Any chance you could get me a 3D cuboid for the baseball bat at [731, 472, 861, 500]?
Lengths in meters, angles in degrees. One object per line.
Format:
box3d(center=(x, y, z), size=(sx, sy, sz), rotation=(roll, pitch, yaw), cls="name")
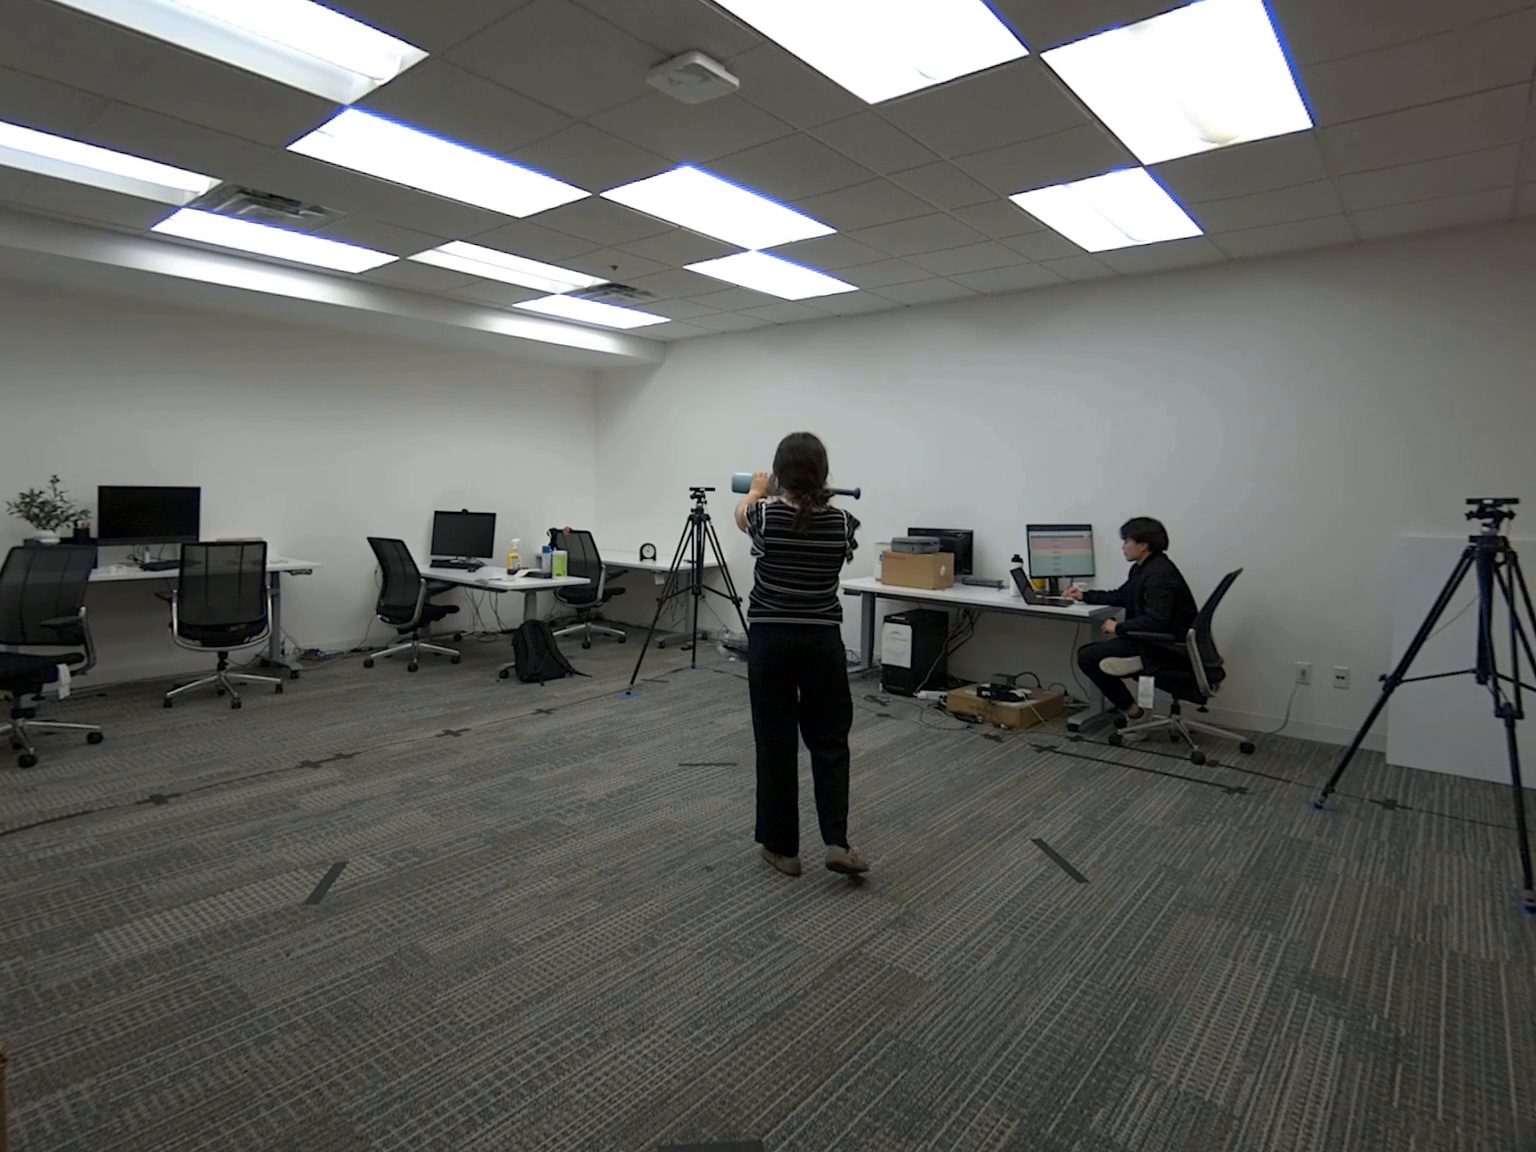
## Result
box3d(center=(0.112, -0.371, 3.578), size=(0.546, 0.089, 0.089), rotation=(3, 4, 5), cls="baseball bat")
